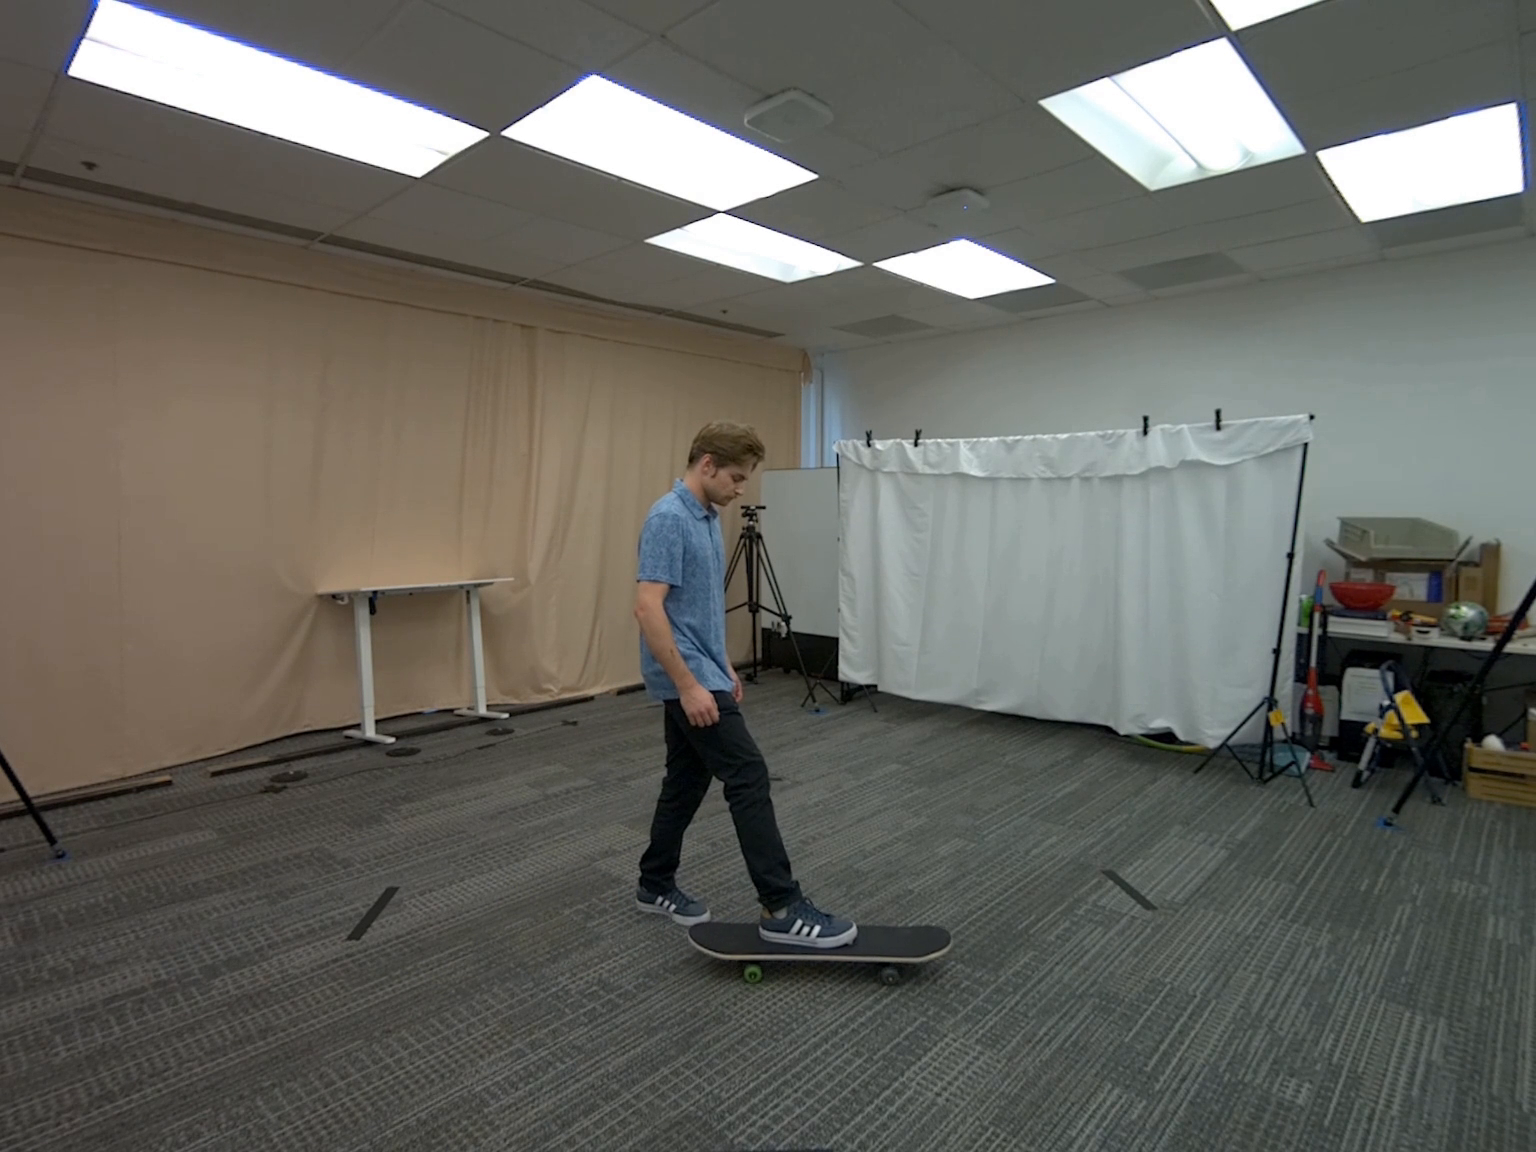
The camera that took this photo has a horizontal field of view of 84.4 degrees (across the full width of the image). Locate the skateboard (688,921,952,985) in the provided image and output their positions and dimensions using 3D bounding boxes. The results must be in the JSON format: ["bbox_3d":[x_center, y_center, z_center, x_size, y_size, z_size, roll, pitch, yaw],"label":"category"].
[{"bbox_3d":[0.147,1.123,2.531,0.787,0.110,0.193,0,2,2],"label":"skateboard"}]
